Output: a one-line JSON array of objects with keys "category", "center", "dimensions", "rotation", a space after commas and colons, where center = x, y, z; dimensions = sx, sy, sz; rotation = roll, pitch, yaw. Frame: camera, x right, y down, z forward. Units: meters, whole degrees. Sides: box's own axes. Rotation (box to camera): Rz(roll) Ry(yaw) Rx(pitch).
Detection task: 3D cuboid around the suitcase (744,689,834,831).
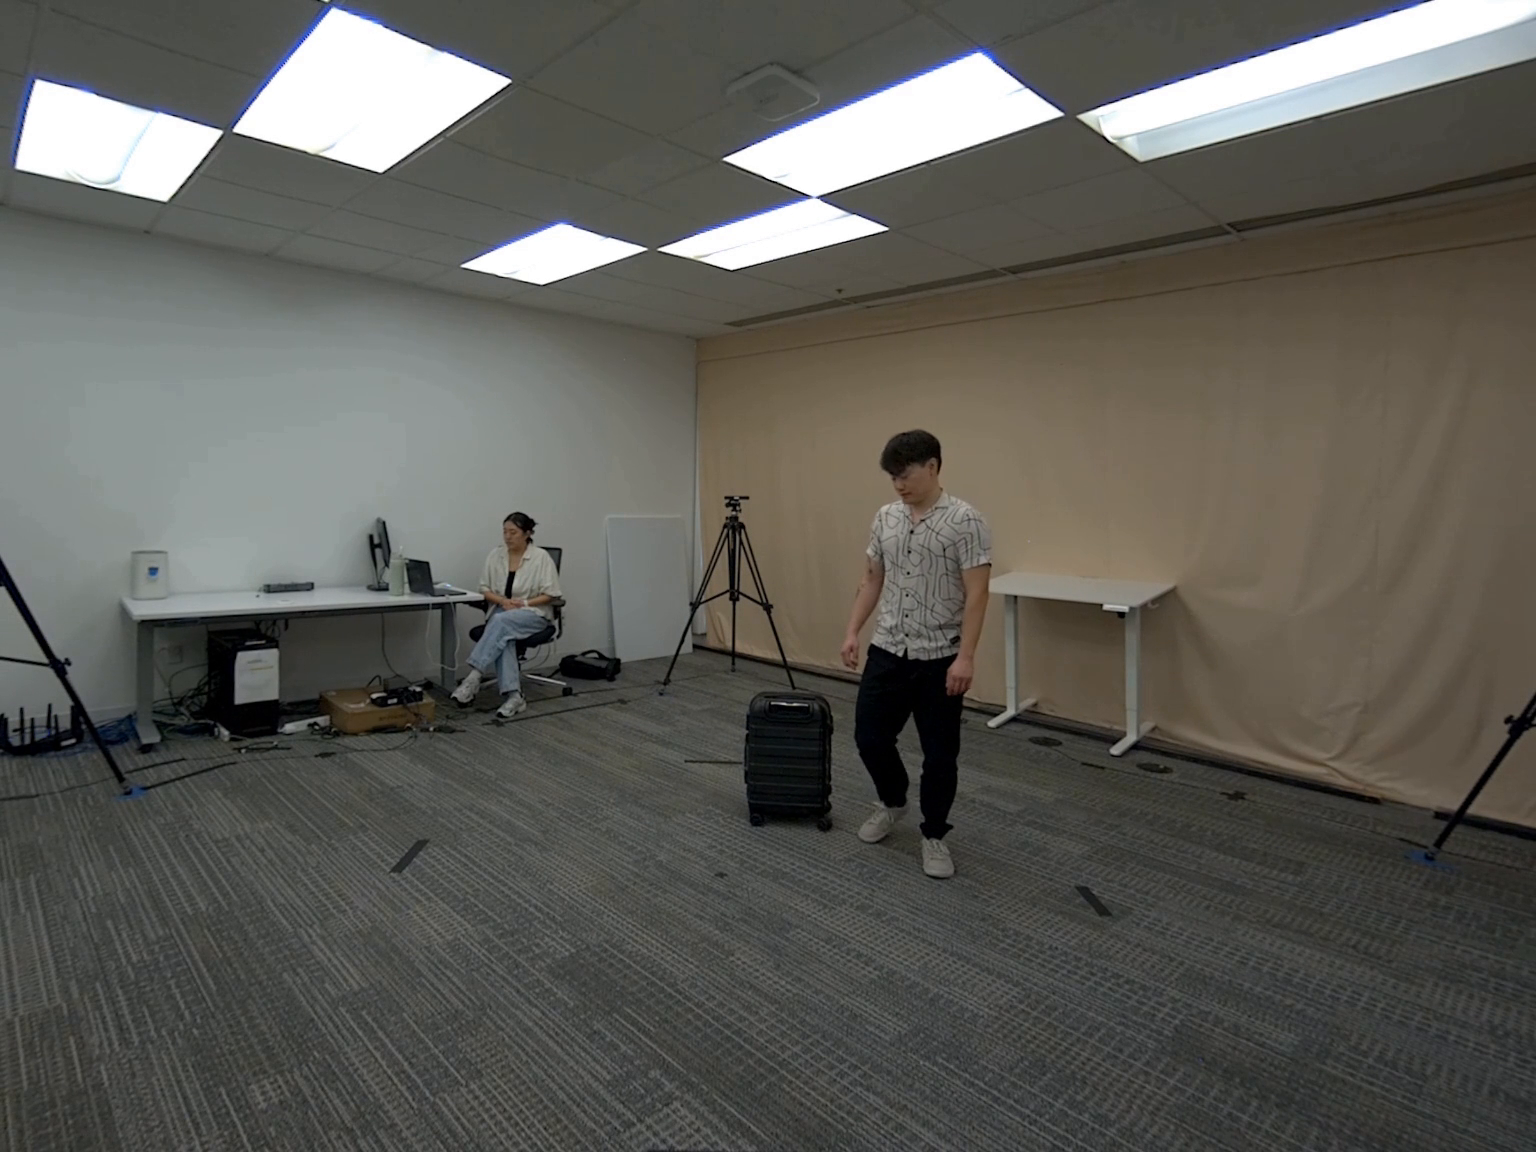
[{"category": "suitcase", "center": [0.083, 0.785, 3.678], "dimensions": [0.377, 0.548, 0.247], "rotation": [1, 3, 6]}]
